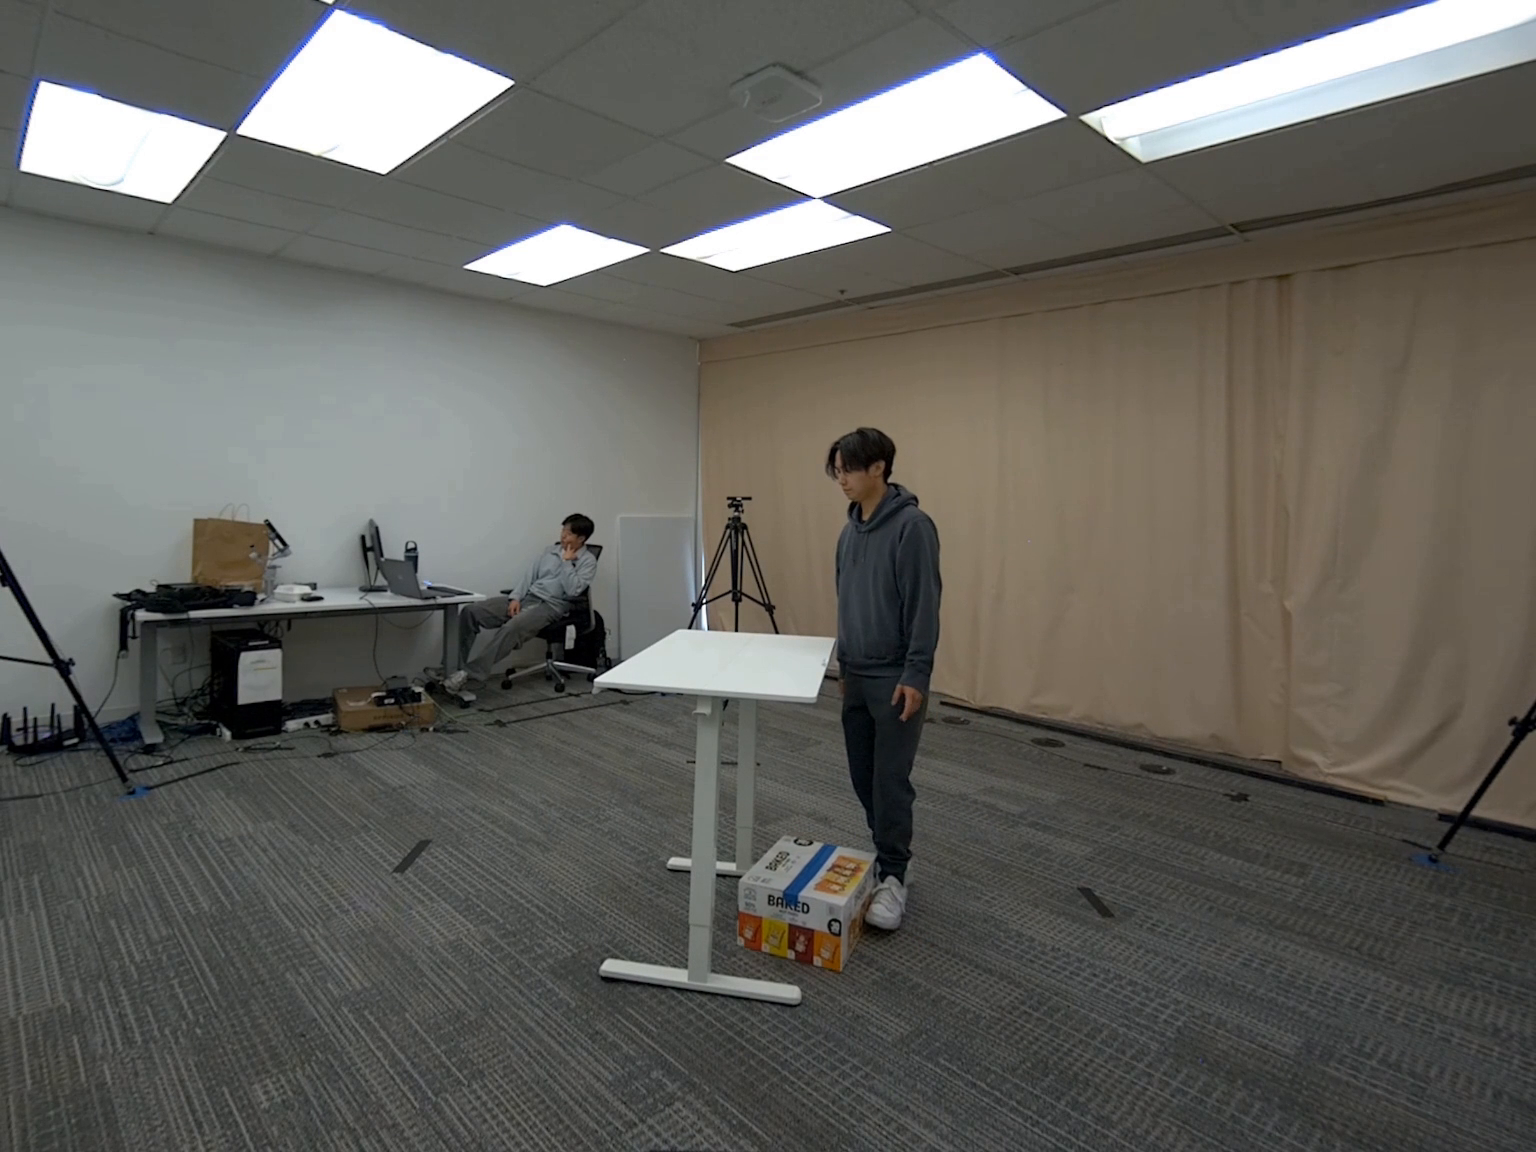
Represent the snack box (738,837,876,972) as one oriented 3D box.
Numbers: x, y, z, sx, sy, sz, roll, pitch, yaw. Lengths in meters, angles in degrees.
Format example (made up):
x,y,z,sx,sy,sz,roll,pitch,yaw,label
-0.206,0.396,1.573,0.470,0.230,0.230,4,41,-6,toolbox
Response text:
x,y,z,sx,sy,sz,roll,pitch,yaw,label
0.126,1.046,2.724,0.346,0.205,0.399,3,6,23,snack box
